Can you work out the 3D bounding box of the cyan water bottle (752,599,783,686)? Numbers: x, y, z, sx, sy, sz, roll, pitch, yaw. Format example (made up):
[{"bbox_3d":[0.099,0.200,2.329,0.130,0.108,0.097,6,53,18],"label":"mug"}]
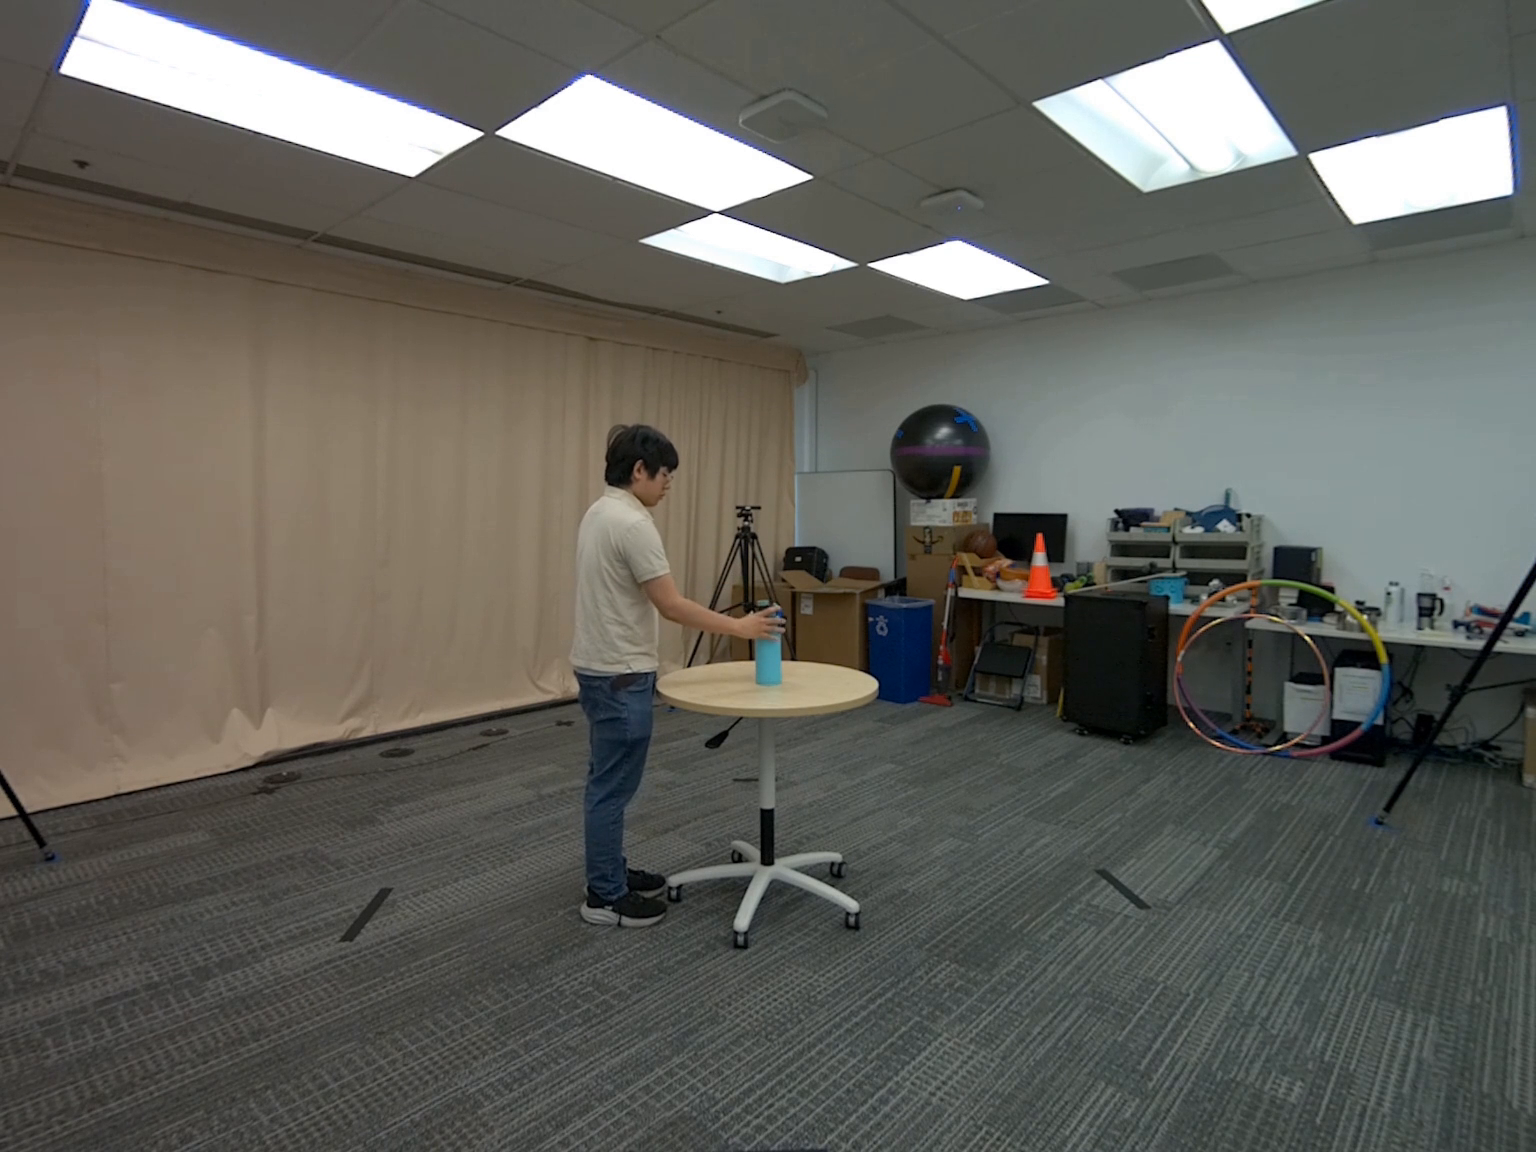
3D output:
[{"bbox_3d":[0.004,0.231,2.890,0.092,0.283,0.092,-1,2,-2],"label":"cyan water bottle"}]
